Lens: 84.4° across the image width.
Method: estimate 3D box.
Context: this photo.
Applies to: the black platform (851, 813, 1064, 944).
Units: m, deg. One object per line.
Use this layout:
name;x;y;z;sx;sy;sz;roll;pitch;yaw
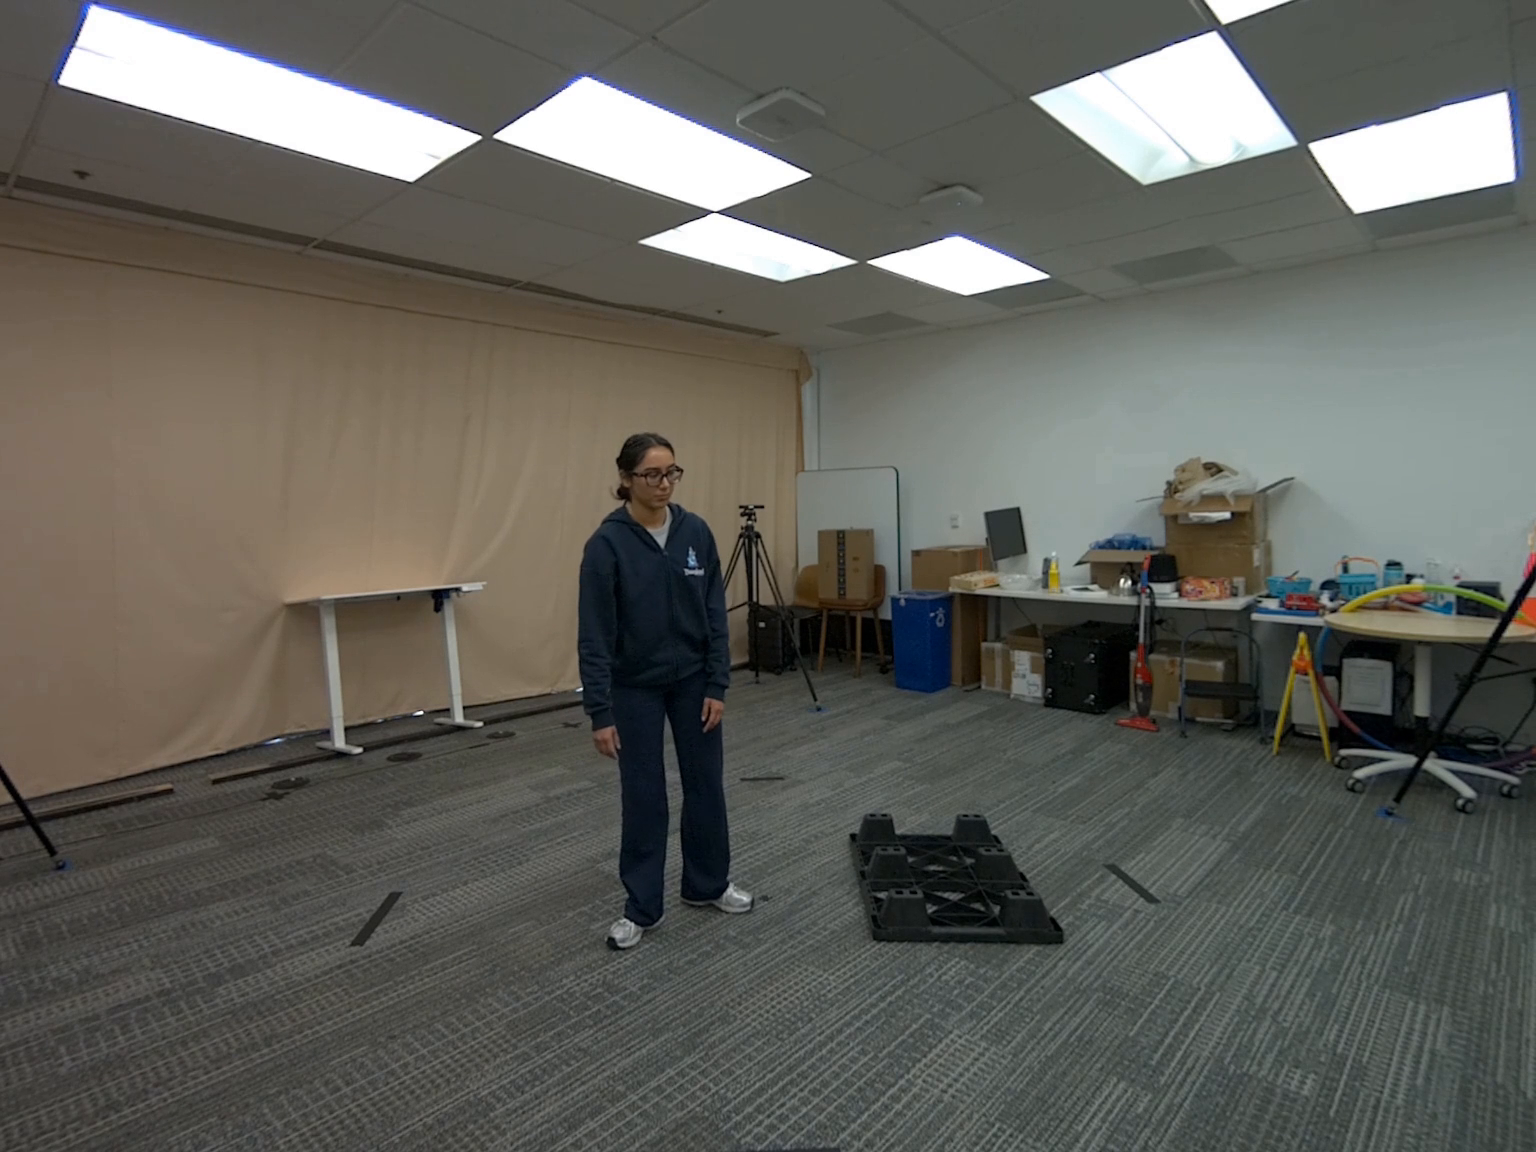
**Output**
black platform;0.643;1.062;3.039;0.607;0.143;0.806;-1;5;1
